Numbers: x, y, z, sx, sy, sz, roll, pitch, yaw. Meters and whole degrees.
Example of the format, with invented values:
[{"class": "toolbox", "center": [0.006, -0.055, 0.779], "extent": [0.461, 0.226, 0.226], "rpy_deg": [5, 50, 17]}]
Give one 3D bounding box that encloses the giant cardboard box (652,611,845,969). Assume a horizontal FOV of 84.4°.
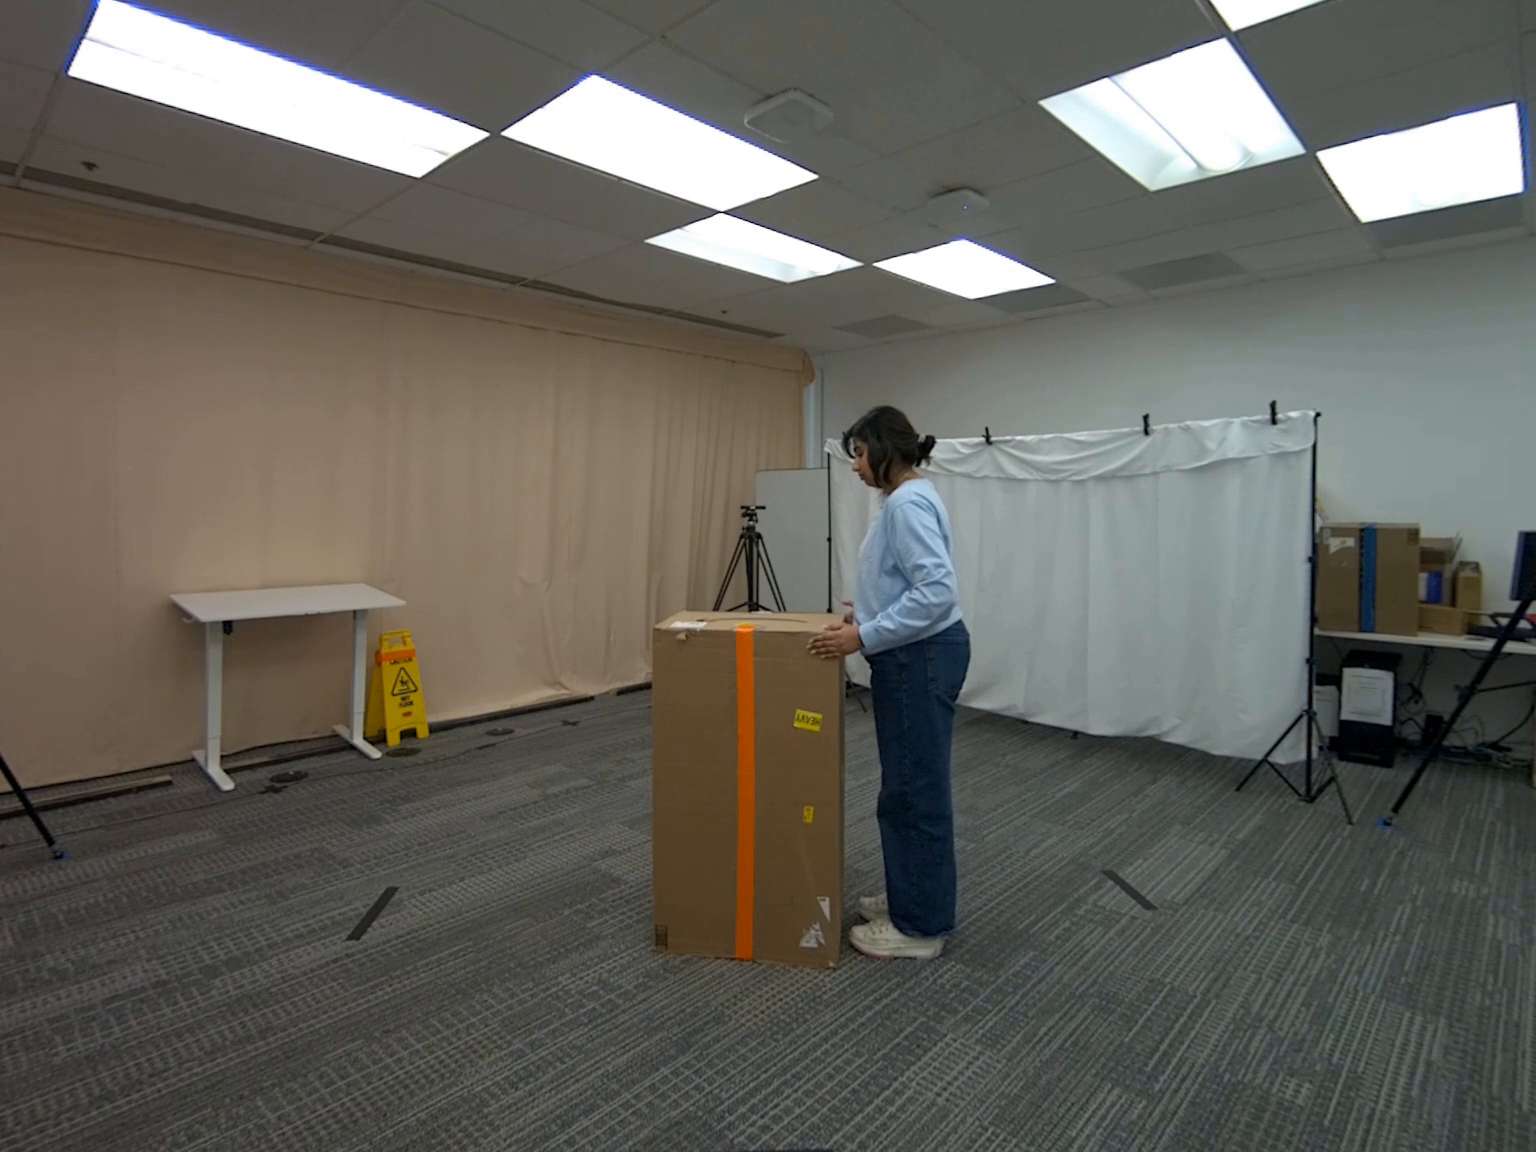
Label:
[{"class": "giant cardboard box", "center": [-0.050, 0.655, 2.764], "extent": [0.584, 1.024, 0.422], "rpy_deg": [0, 3, 10]}]
